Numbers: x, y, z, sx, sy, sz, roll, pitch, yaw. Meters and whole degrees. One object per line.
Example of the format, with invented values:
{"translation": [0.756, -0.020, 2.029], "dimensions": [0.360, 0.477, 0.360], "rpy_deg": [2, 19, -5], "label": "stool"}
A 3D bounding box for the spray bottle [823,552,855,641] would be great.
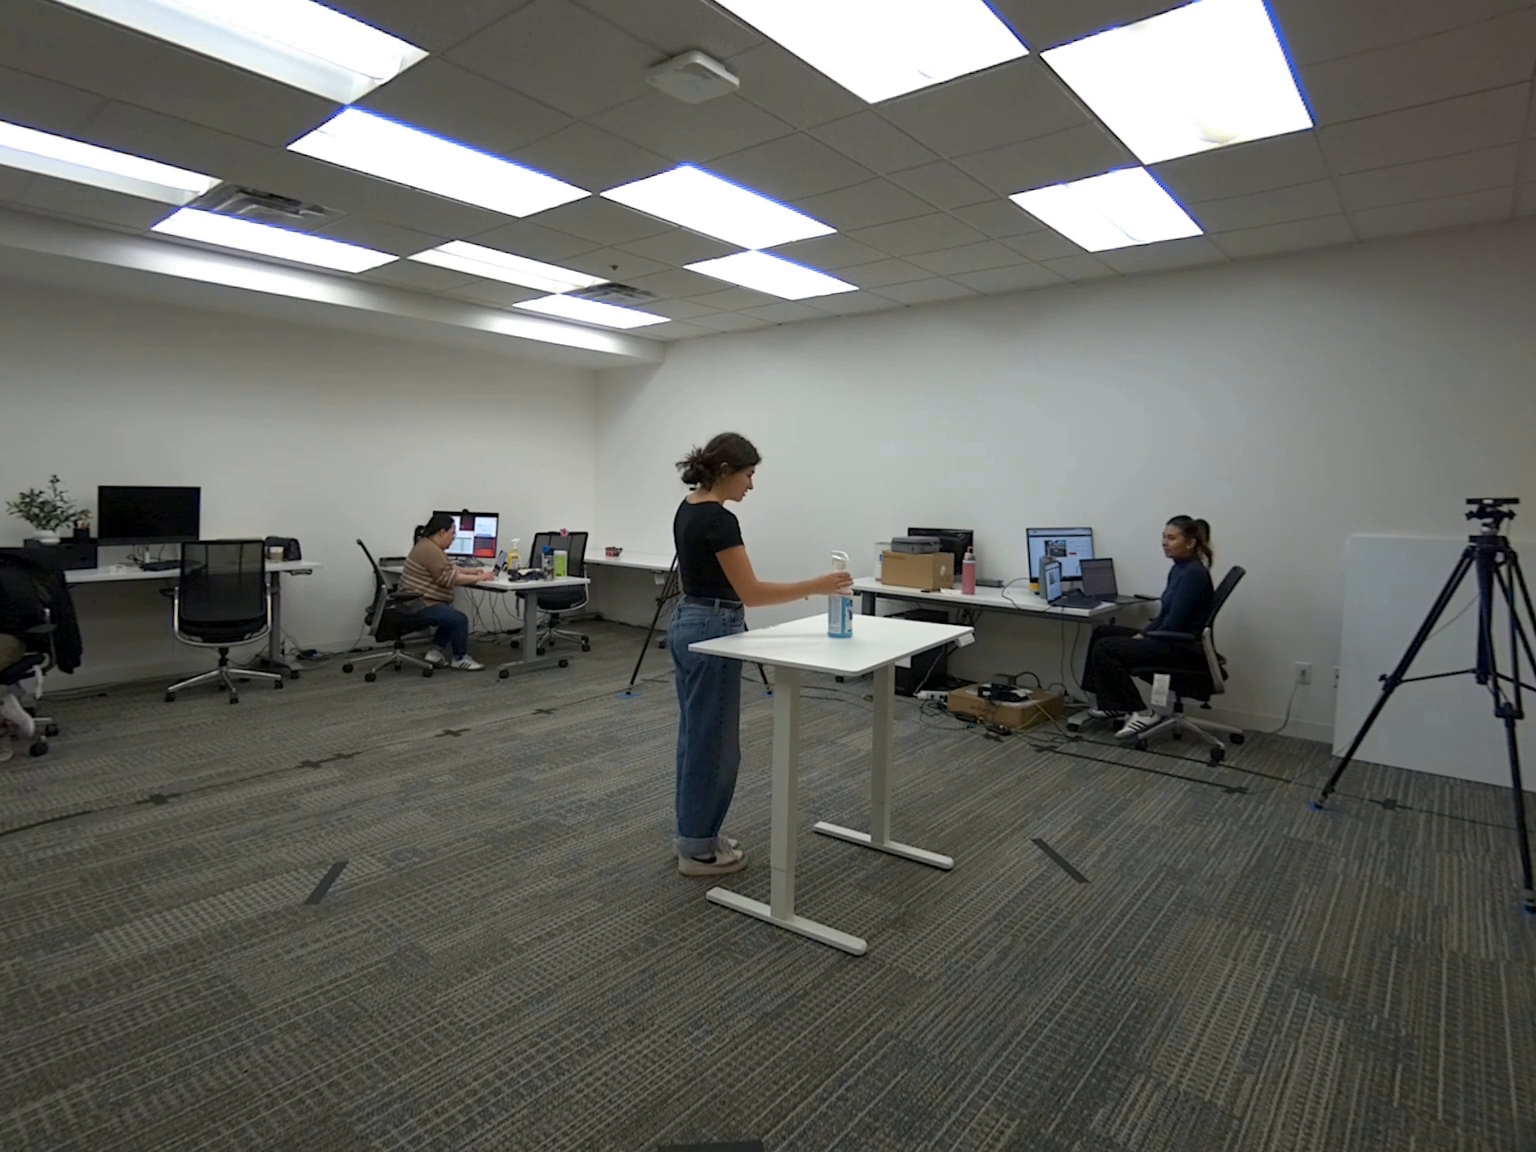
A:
{"translation": [0.247, 0.069, 2.944], "dimensions": [0.087, 0.296, 0.091], "rpy_deg": [0, 4, -5], "label": "spray bottle"}
